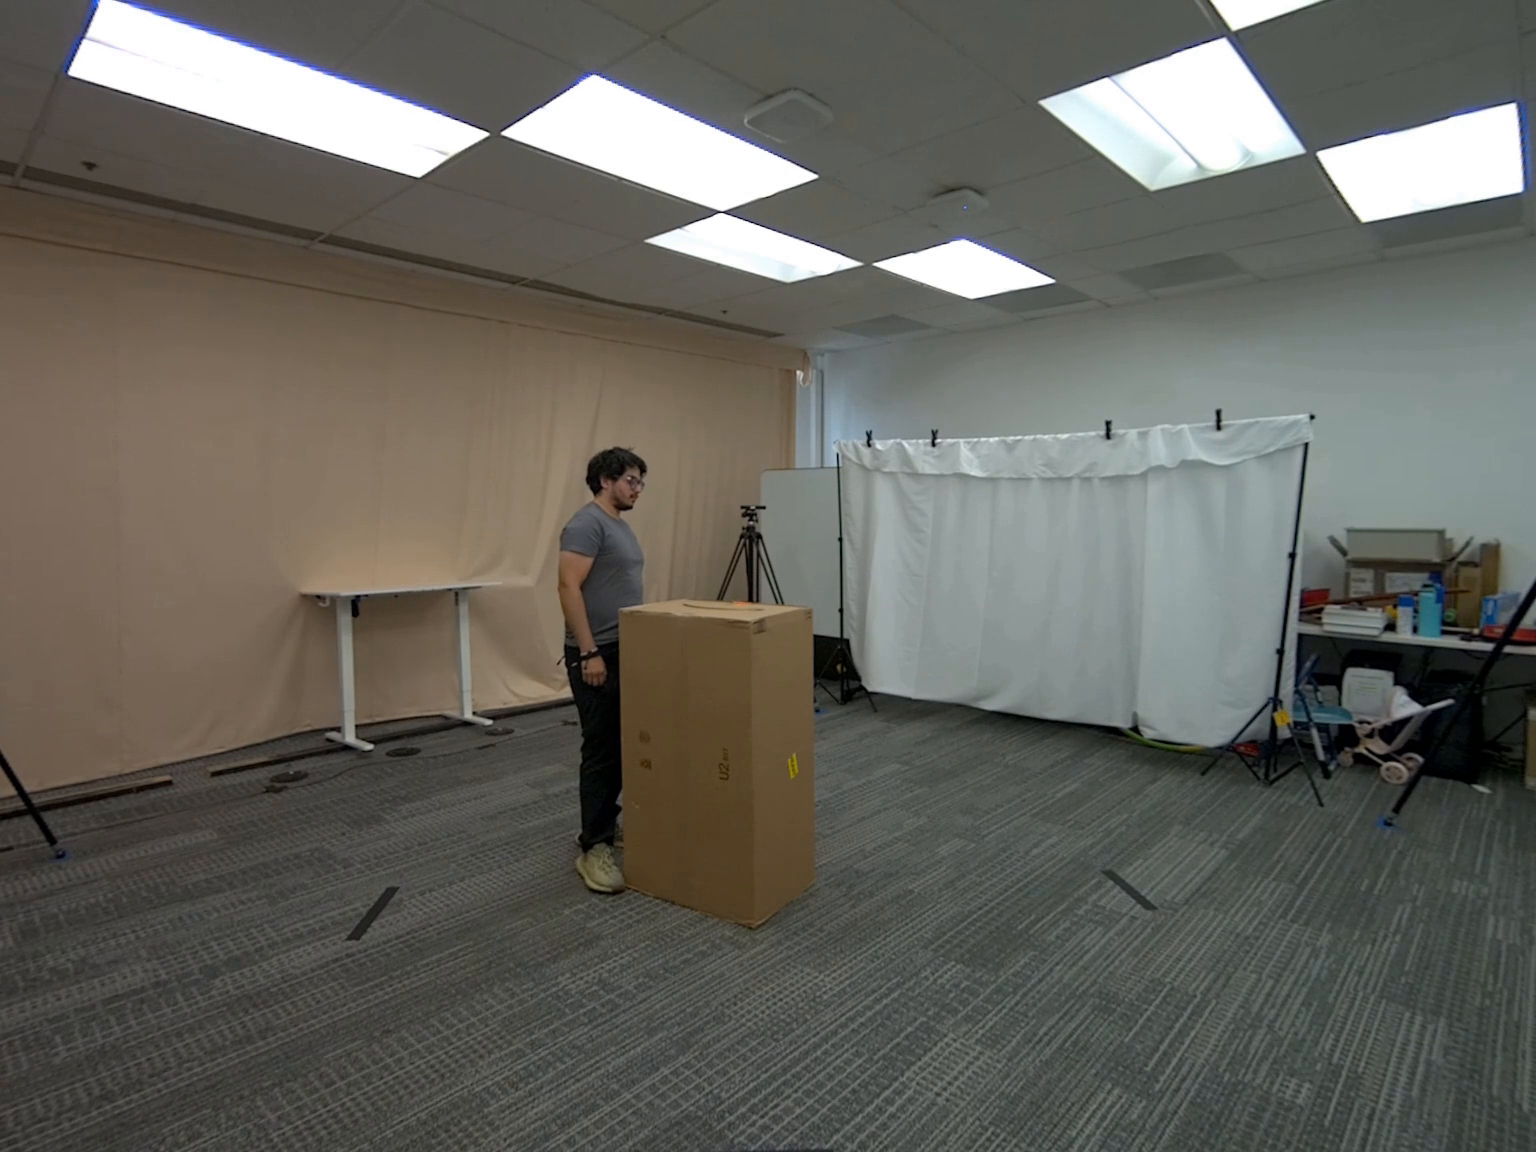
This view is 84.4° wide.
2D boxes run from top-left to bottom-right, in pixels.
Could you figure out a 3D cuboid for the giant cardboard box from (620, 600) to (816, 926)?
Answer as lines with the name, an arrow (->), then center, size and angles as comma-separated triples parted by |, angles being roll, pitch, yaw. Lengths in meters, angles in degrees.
giant cardboard box -> -0.178, 0.633, 3.074 | 0.601, 1.025, 0.434 | 1, 4, 32
